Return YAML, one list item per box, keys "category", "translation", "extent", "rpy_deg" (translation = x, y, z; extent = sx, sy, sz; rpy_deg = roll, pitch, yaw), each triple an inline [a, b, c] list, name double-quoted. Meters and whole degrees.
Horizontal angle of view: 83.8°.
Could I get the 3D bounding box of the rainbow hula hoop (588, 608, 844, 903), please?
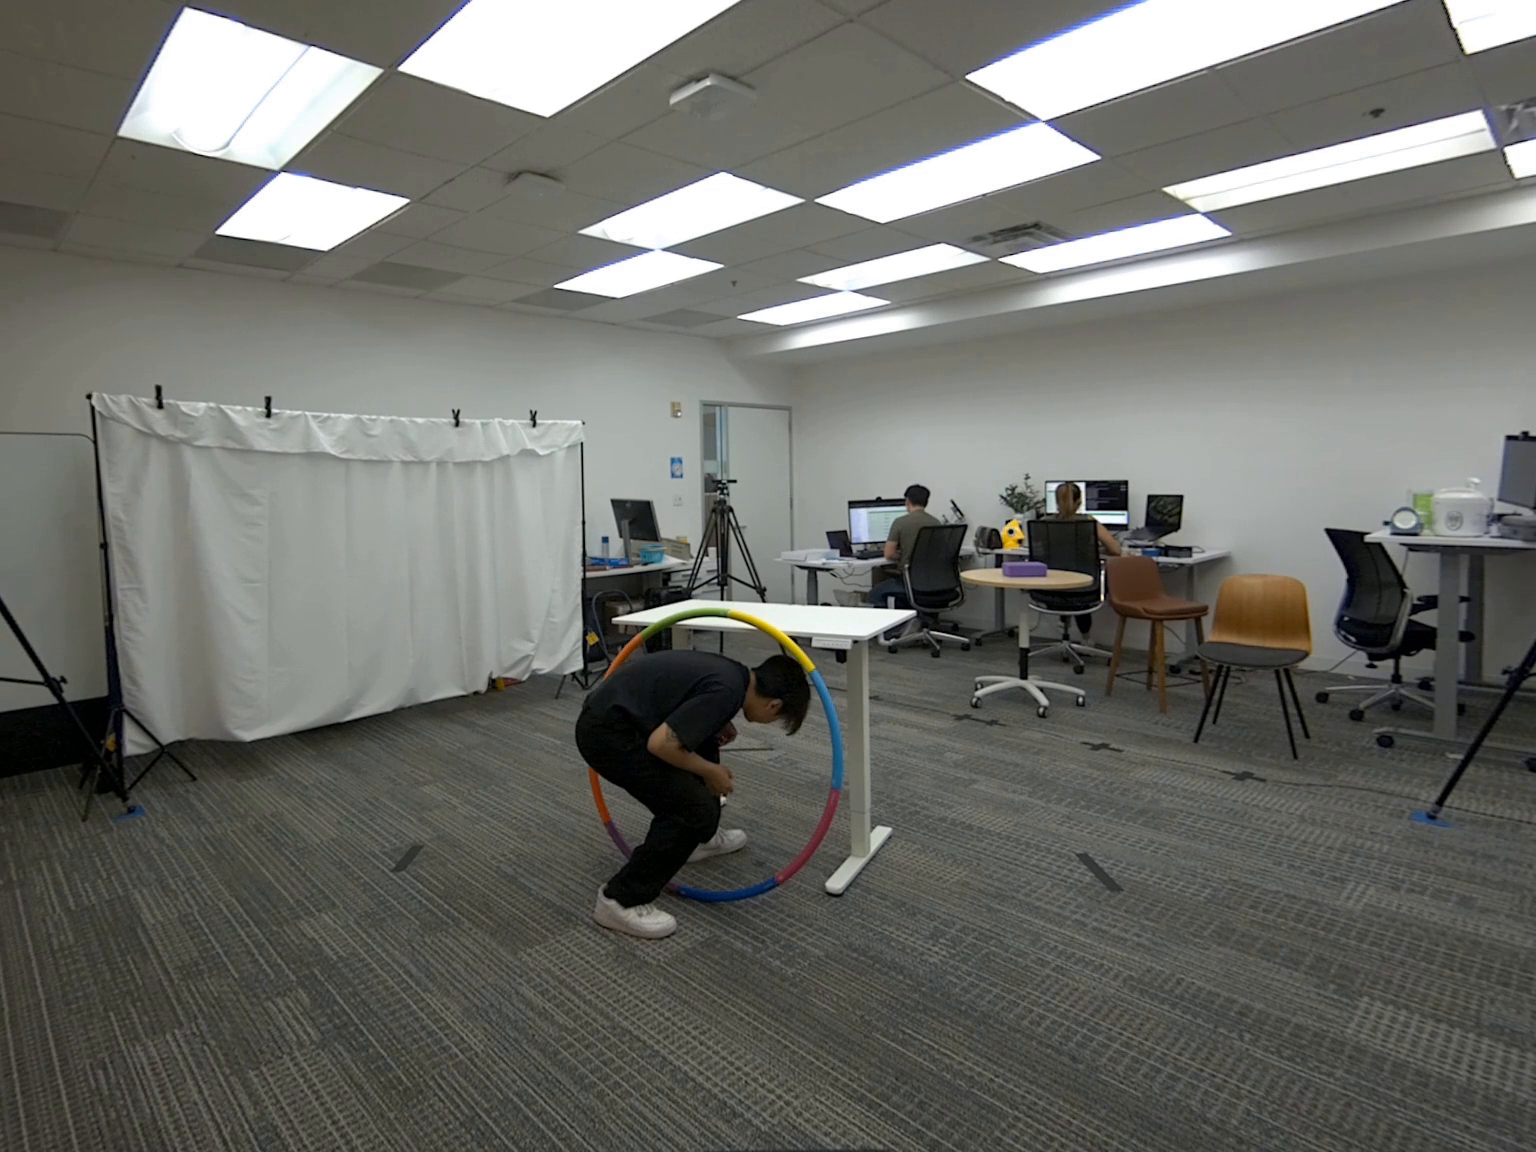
- category: "rainbow hula hoop"
  translation: [-0.214, 0.597, 2.920]
  extent: [1.003, 0.984, 0.034]
  rpy_deg: [1, -8, 28]
